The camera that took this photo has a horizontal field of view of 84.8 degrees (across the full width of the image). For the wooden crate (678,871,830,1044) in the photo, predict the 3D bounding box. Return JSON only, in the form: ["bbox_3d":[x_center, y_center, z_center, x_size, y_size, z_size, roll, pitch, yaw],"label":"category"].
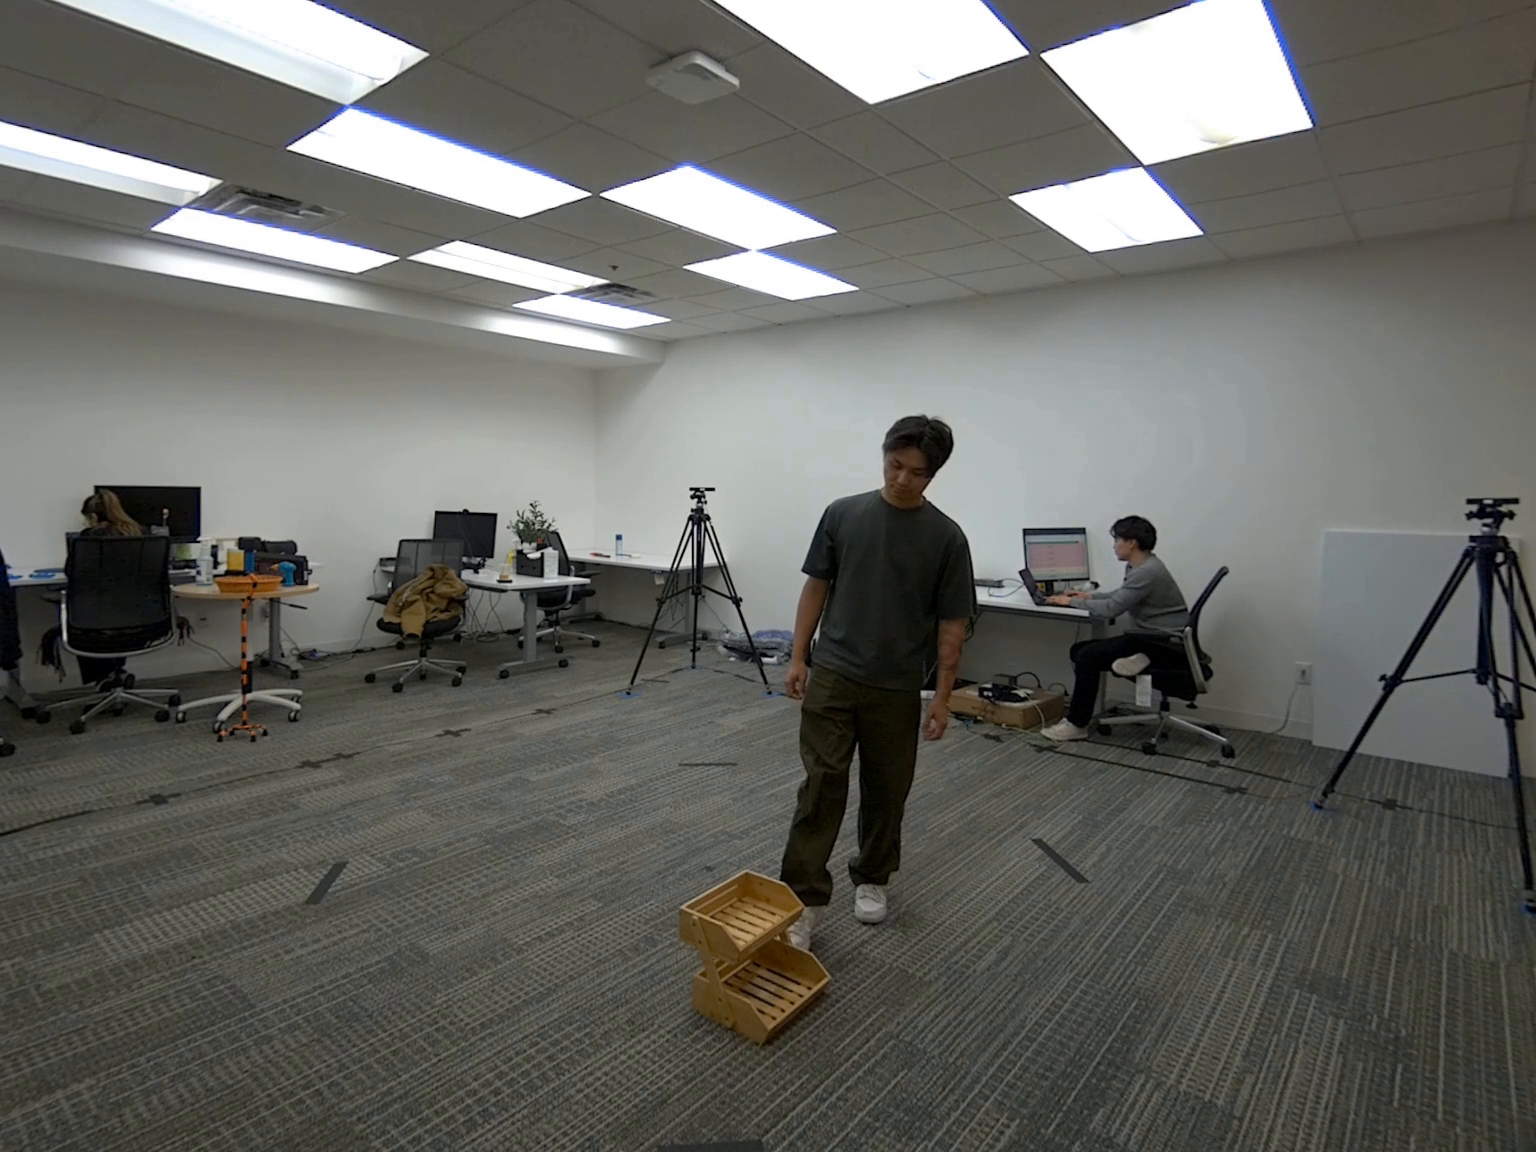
[{"bbox_3d":[-0.034,1.015,2.319,0.312,0.272,0.315,3,5,37],"label":"wooden crate"}]
